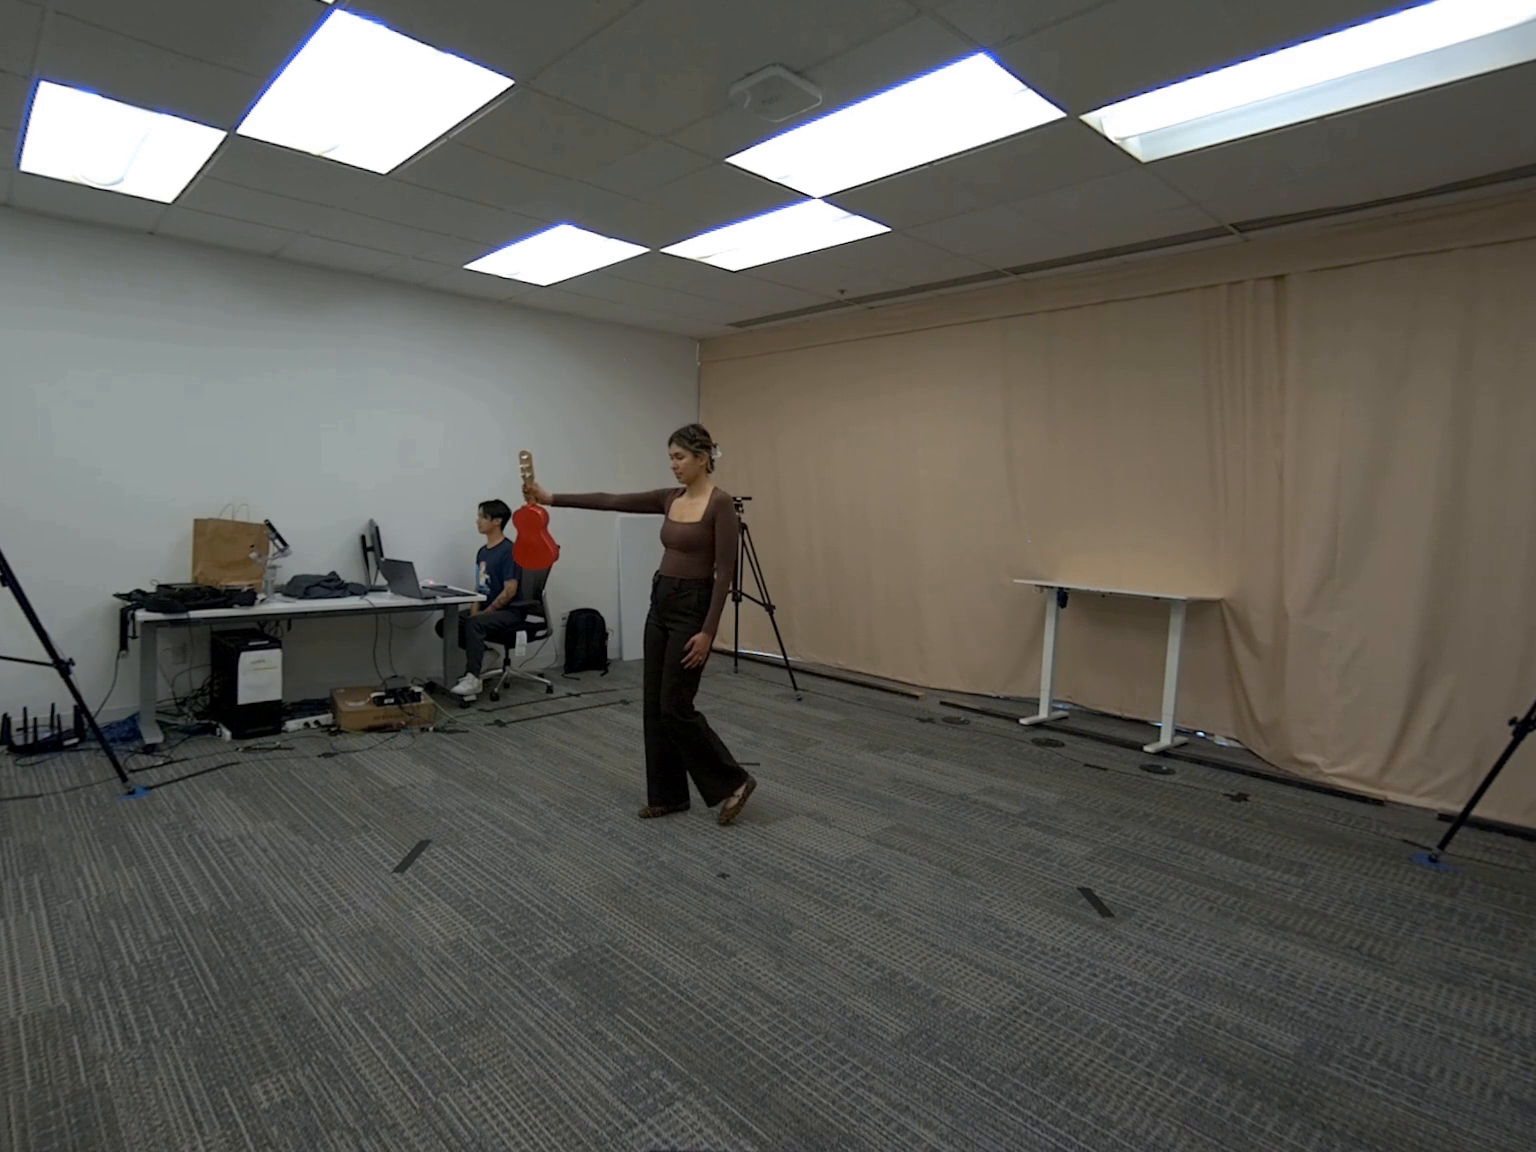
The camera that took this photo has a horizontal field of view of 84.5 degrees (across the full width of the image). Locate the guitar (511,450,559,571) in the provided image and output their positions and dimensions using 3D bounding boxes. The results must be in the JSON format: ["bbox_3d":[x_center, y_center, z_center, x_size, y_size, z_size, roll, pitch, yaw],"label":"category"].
[{"bbox_3d":[-1.033,-0.268,3.539,0.195,0.492,0.071,-9,14,17],"label":"guitar"}]
